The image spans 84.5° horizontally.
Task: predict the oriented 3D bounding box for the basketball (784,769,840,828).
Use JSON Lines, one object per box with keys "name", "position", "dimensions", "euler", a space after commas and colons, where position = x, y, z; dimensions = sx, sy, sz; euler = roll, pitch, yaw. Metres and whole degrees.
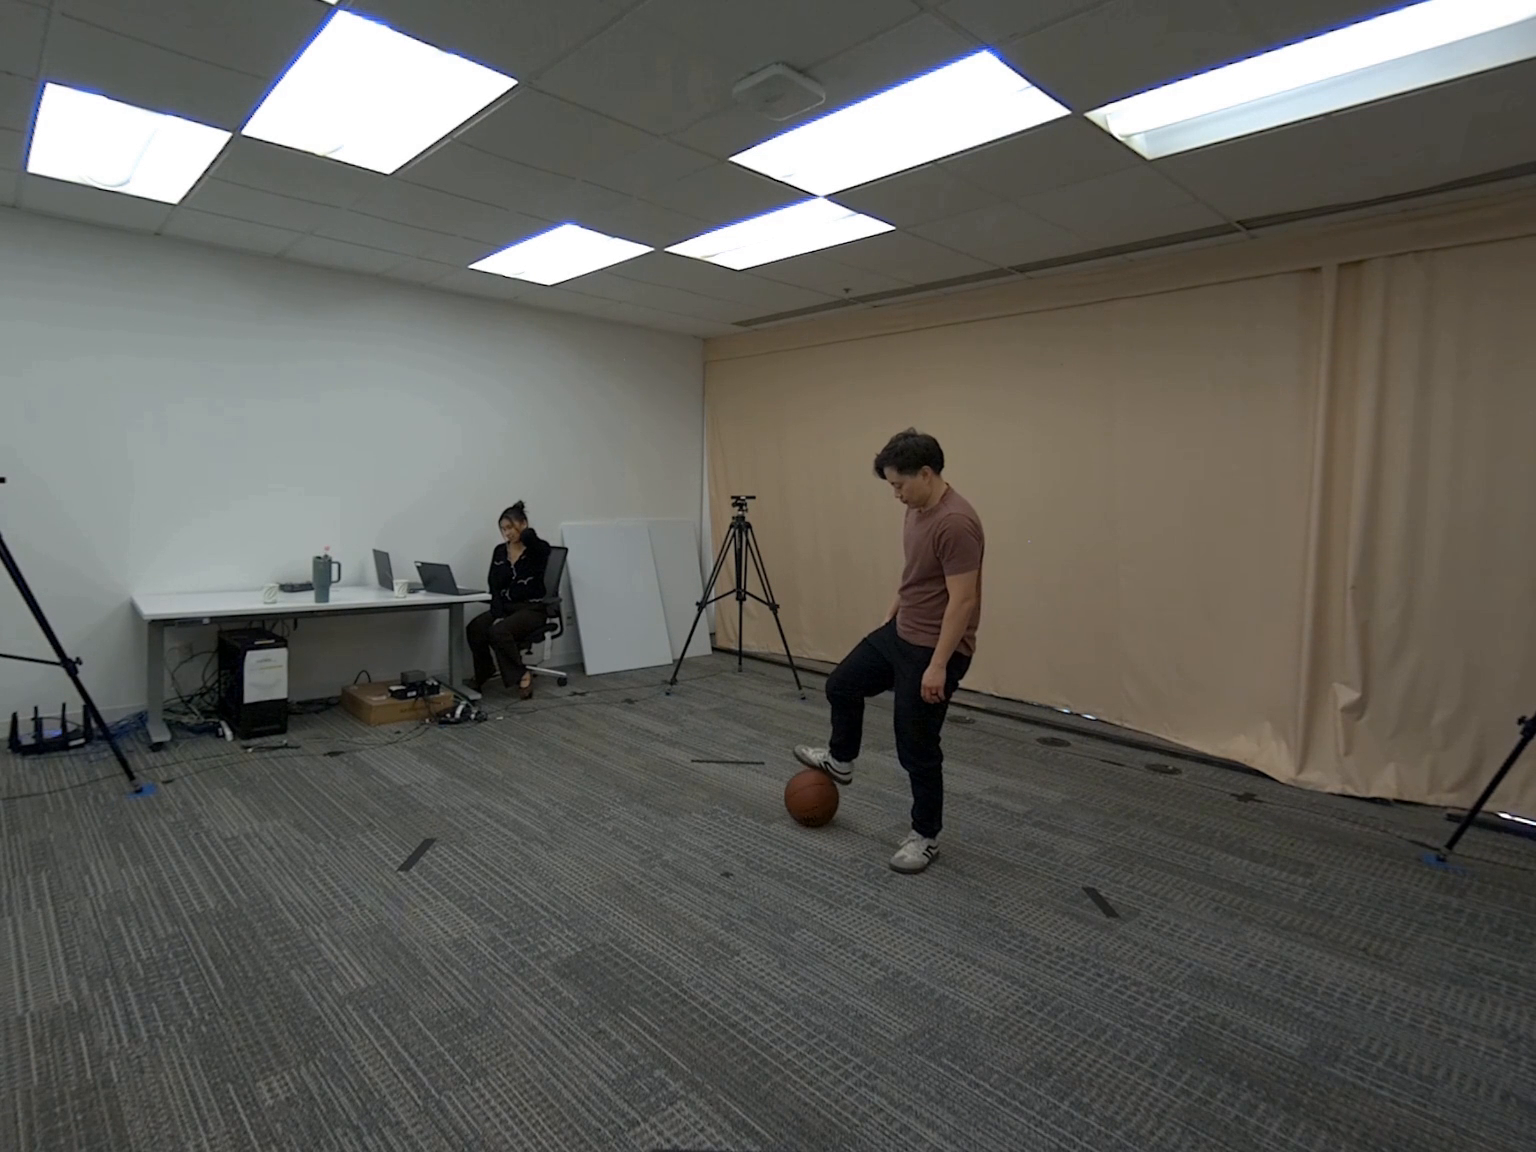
{"name": "basketball", "position": [0.183, 0.951, 3.615], "dimensions": [0.236, 0.235, 0.237], "euler": [1, 4, -1]}
